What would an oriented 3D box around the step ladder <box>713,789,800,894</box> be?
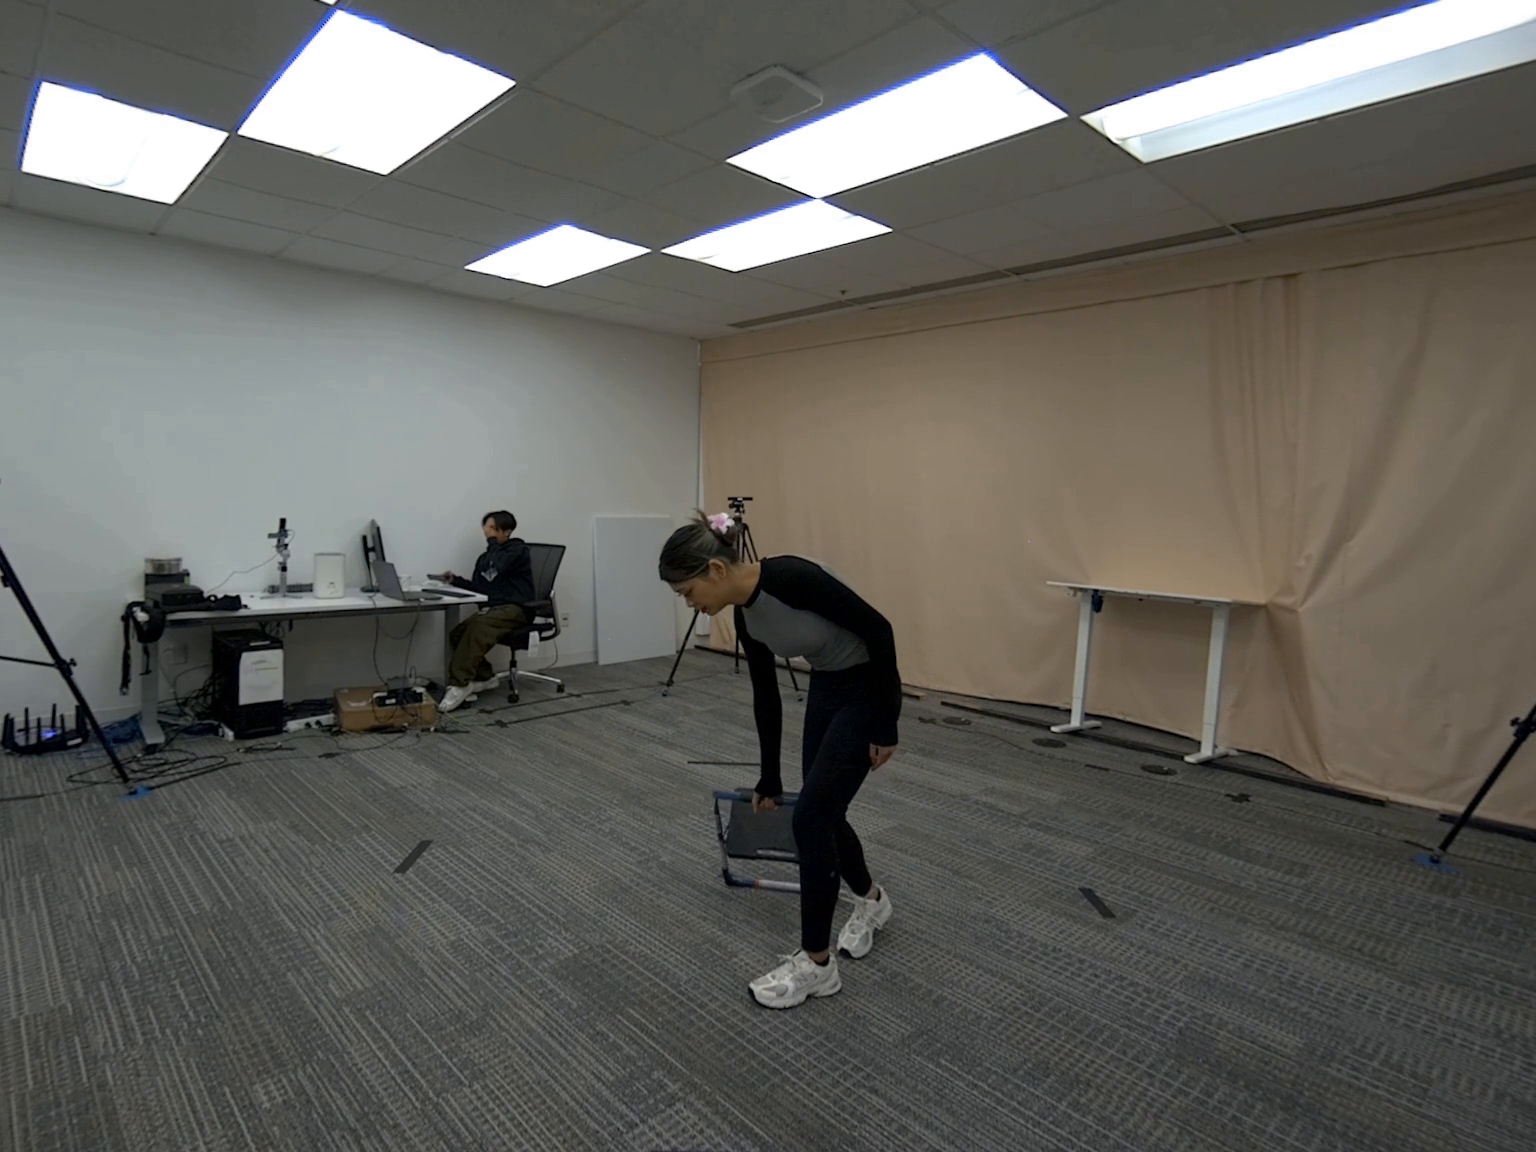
[{"bbox_3d":[0.033,0.812,2.877,0.434,0.355,0.590,2,-37,10],"label":"step ladder"}]
